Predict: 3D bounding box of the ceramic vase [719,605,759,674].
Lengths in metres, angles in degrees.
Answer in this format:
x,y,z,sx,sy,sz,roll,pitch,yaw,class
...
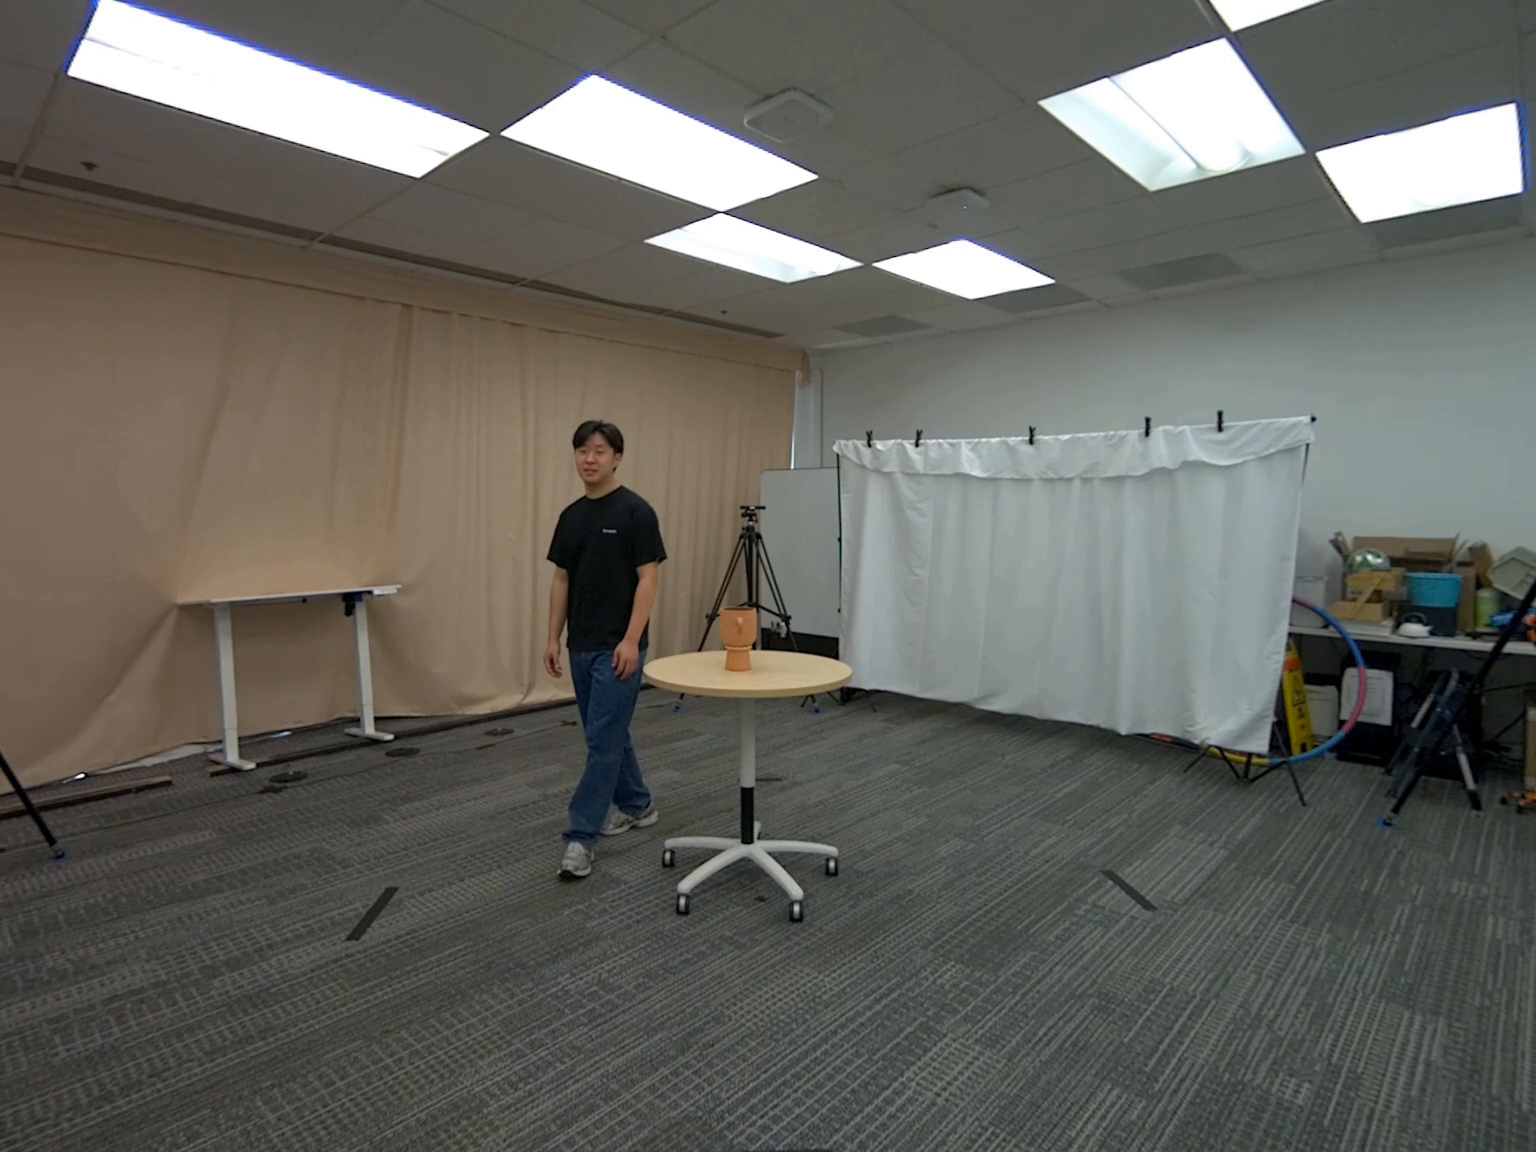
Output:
x,y,z,sx,sy,sz,roll,pitch,yaw,class
-0.105,0.230,3.073,0.139,0.219,0.154,2,5,33,ceramic vase
